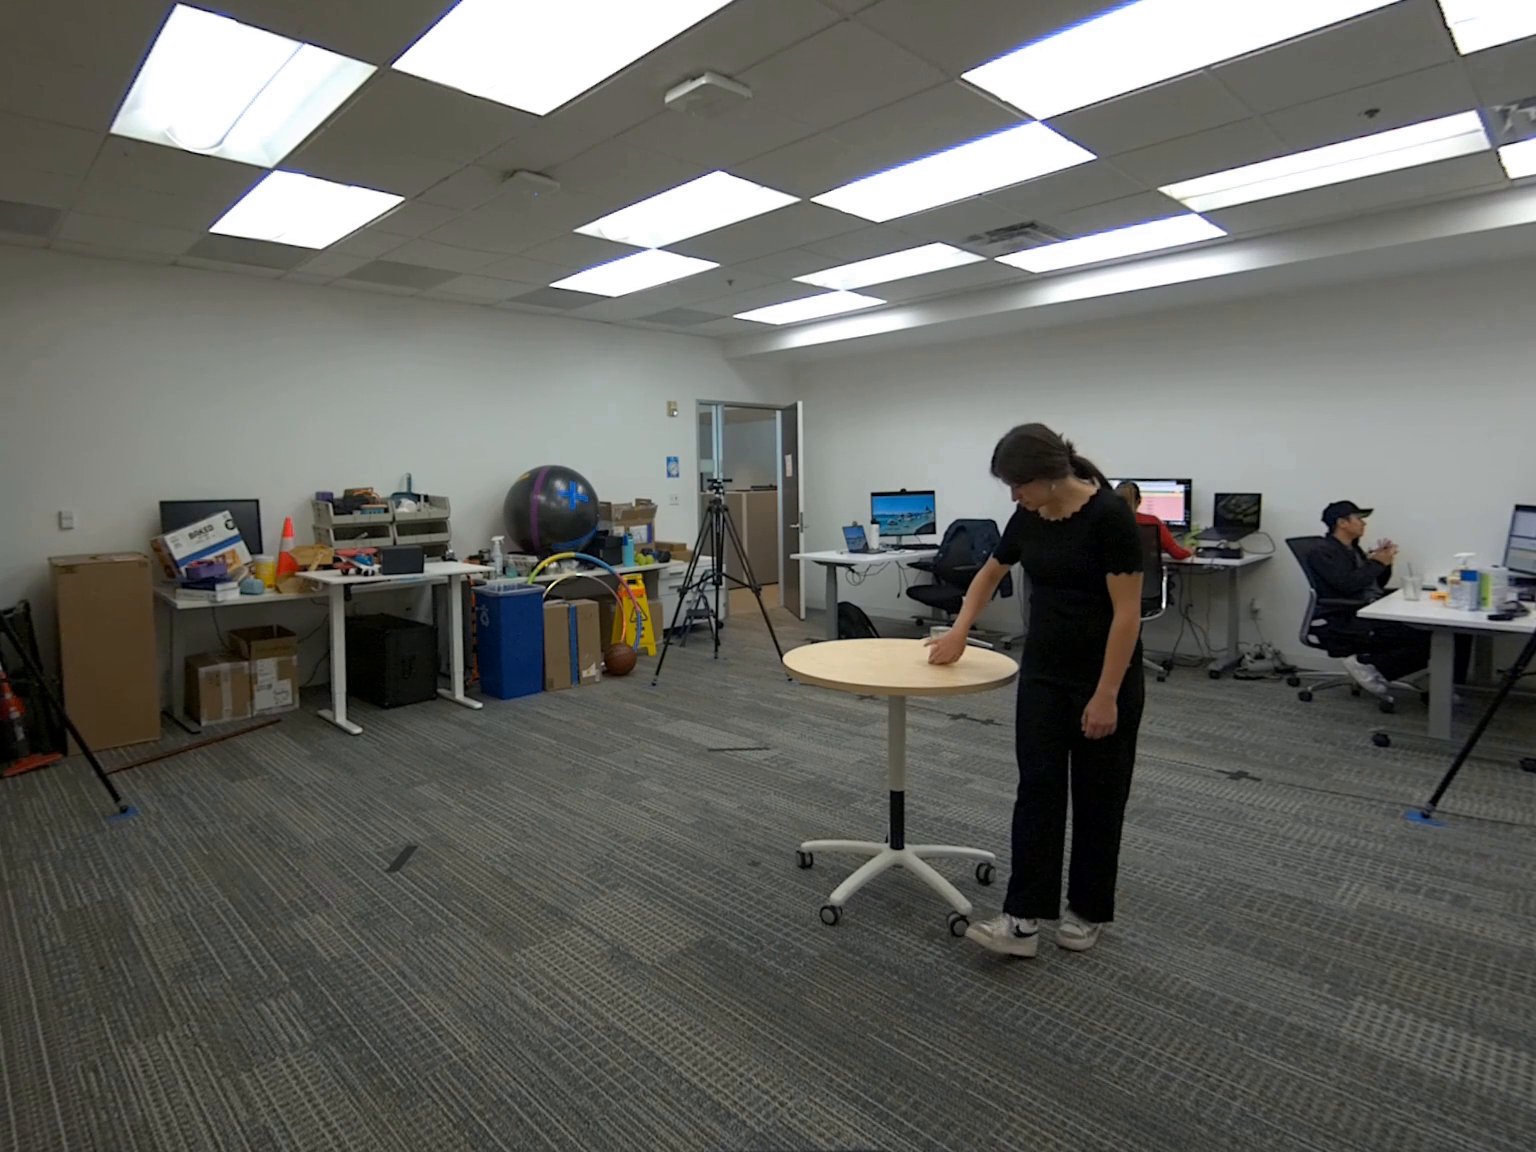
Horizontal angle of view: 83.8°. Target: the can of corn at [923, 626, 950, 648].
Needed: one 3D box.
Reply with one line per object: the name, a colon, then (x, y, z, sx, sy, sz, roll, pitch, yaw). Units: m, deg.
can of corn: (0.586, 0.230, 2.810, 0.074, 0.110, 0.075, 2, 7, -2)
